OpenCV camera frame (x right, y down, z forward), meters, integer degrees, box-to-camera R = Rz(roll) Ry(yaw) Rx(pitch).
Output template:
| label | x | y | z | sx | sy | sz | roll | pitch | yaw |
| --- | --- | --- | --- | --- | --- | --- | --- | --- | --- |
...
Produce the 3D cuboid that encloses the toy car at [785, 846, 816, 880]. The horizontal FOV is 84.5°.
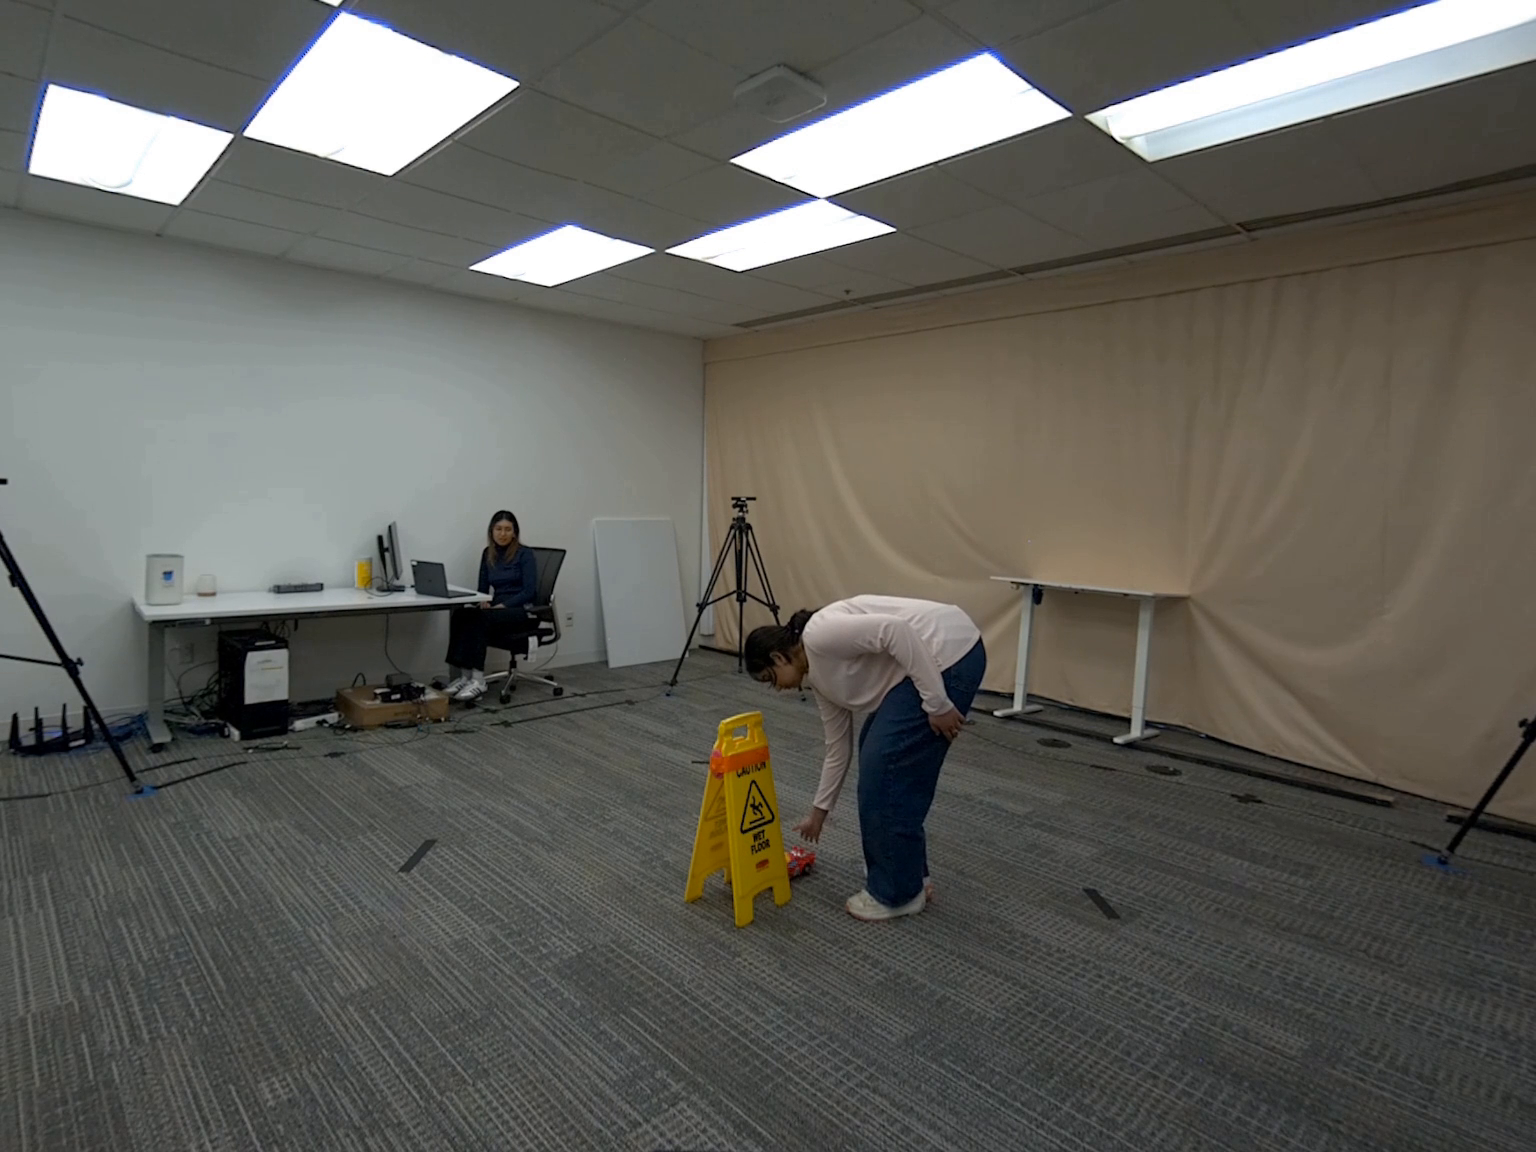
| label | x | y | z | sx | sy | sz | roll | pitch | yaw |
| --- | --- | --- | --- | --- | --- | --- | --- | --- | --- |
| toy car | 0.068 | 1.074 | 3.121 | 0.134 | 0.082 | 0.251 | 6 | 19 | 44 |
